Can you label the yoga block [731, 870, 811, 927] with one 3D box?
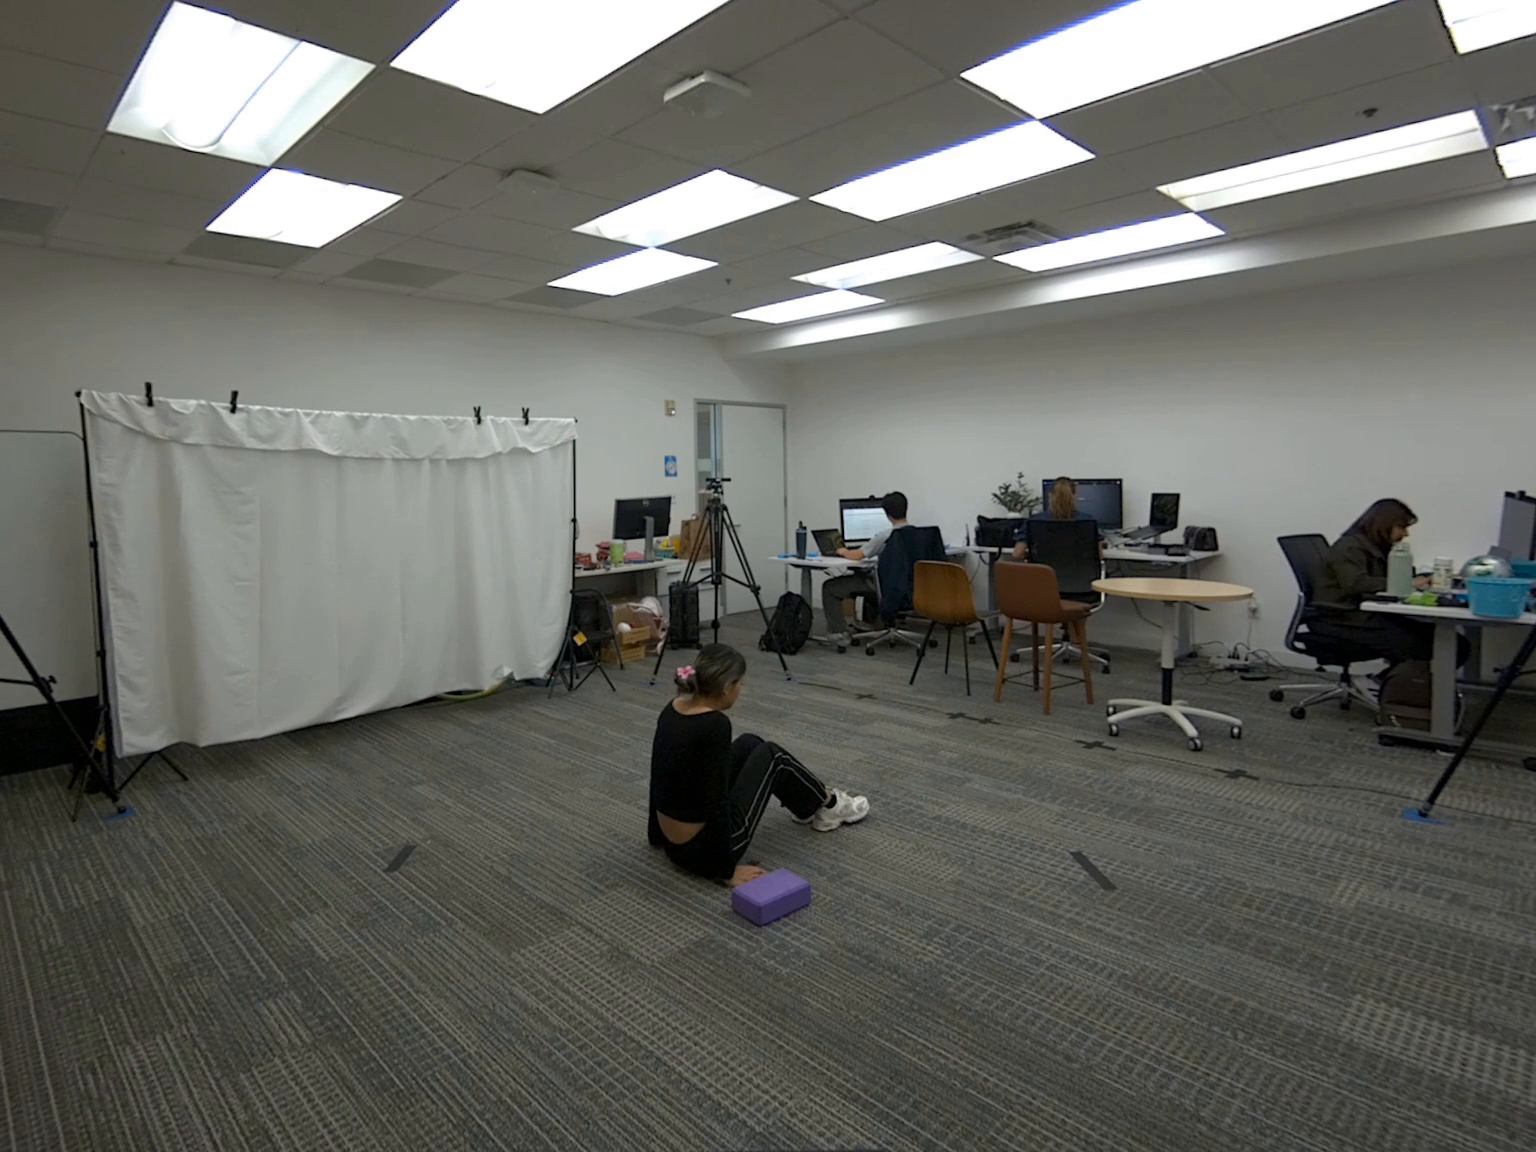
[{"bbox_3d":[0.011,1.044,2.776,0.223,0.076,0.153,-7,8,-41],"label":"yoga block"}]
